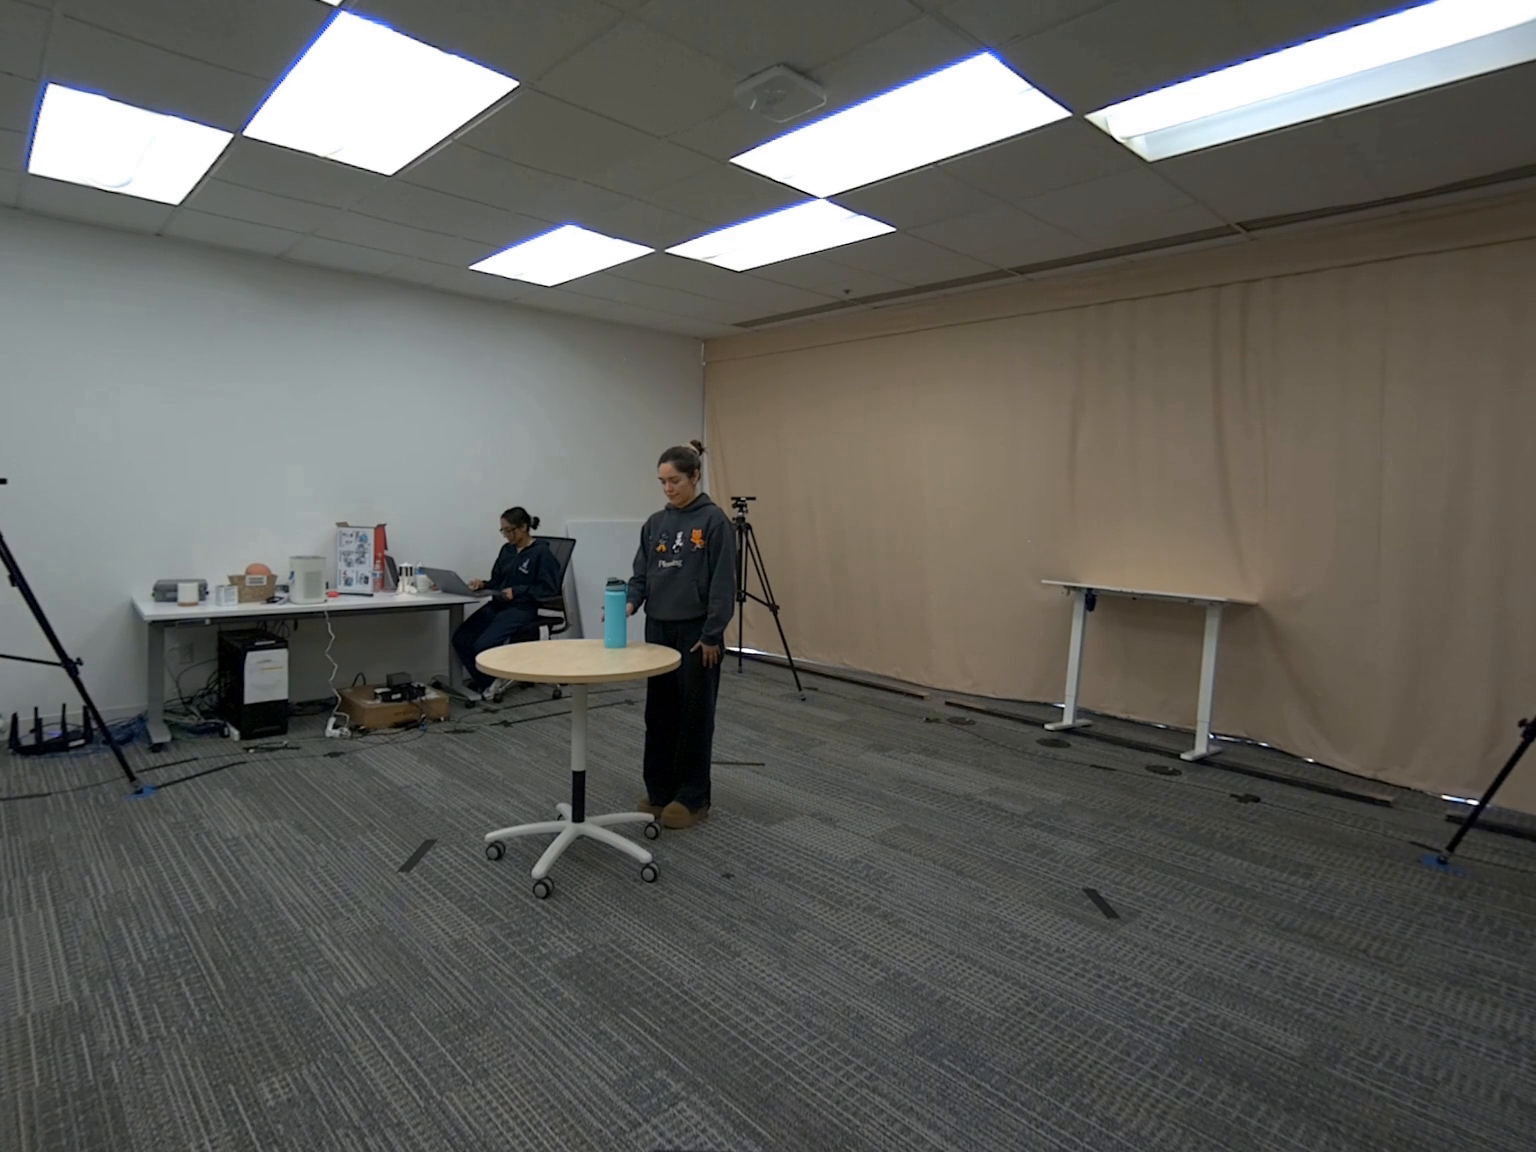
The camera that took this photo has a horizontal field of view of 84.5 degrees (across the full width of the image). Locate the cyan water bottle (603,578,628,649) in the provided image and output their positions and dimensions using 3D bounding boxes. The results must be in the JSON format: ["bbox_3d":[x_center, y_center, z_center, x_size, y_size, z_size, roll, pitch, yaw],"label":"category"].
[{"bbox_3d":[-0.632,0.147,3.416,0.092,0.283,0.092,1,1,-1],"label":"cyan water bottle"}]
